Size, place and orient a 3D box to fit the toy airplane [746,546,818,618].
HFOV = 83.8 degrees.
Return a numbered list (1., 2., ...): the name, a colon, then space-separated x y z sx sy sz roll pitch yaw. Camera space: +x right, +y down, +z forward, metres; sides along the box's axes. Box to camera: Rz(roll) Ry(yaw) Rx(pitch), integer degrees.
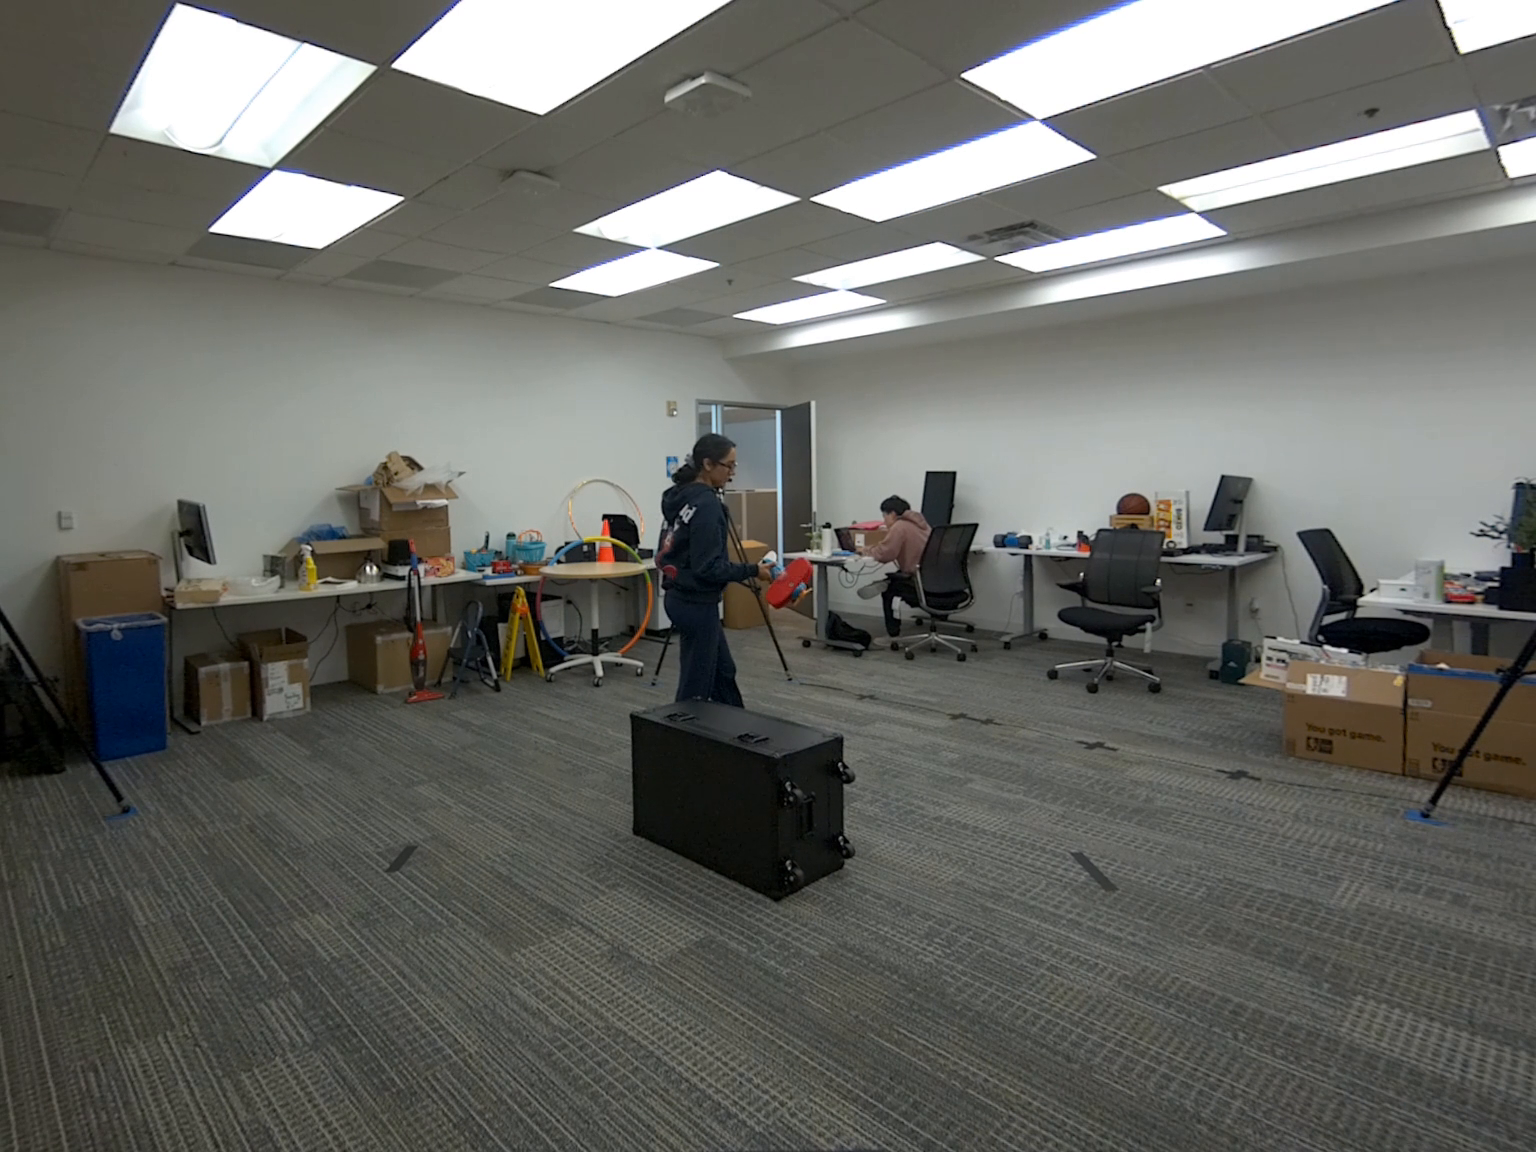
1. toy airplane: 0.063 0.028 3.842 0.261 0.252 0.154 14 -6 6
